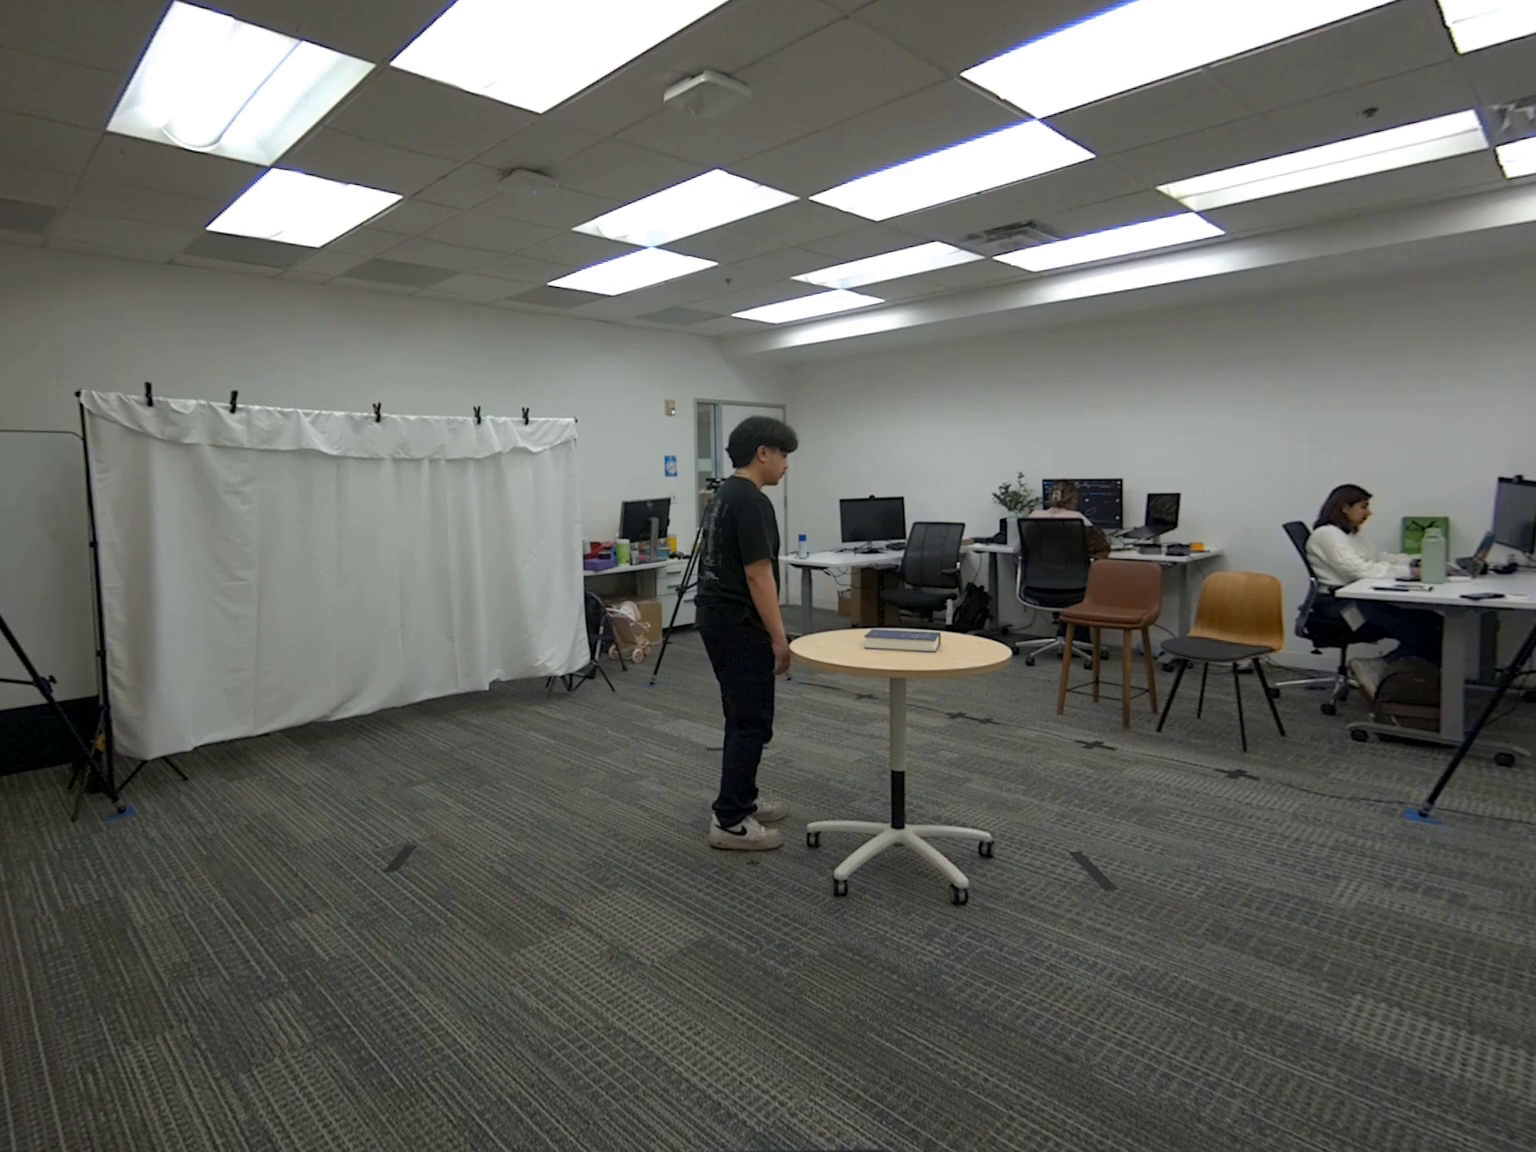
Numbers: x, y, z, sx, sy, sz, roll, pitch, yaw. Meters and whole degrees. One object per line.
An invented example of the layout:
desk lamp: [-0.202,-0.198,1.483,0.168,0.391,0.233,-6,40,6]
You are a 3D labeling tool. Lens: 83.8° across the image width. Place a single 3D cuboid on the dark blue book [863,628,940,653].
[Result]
dark blue book: [0.497,0.230,3.027,0.250,0.045,0.161,1,7,19]
